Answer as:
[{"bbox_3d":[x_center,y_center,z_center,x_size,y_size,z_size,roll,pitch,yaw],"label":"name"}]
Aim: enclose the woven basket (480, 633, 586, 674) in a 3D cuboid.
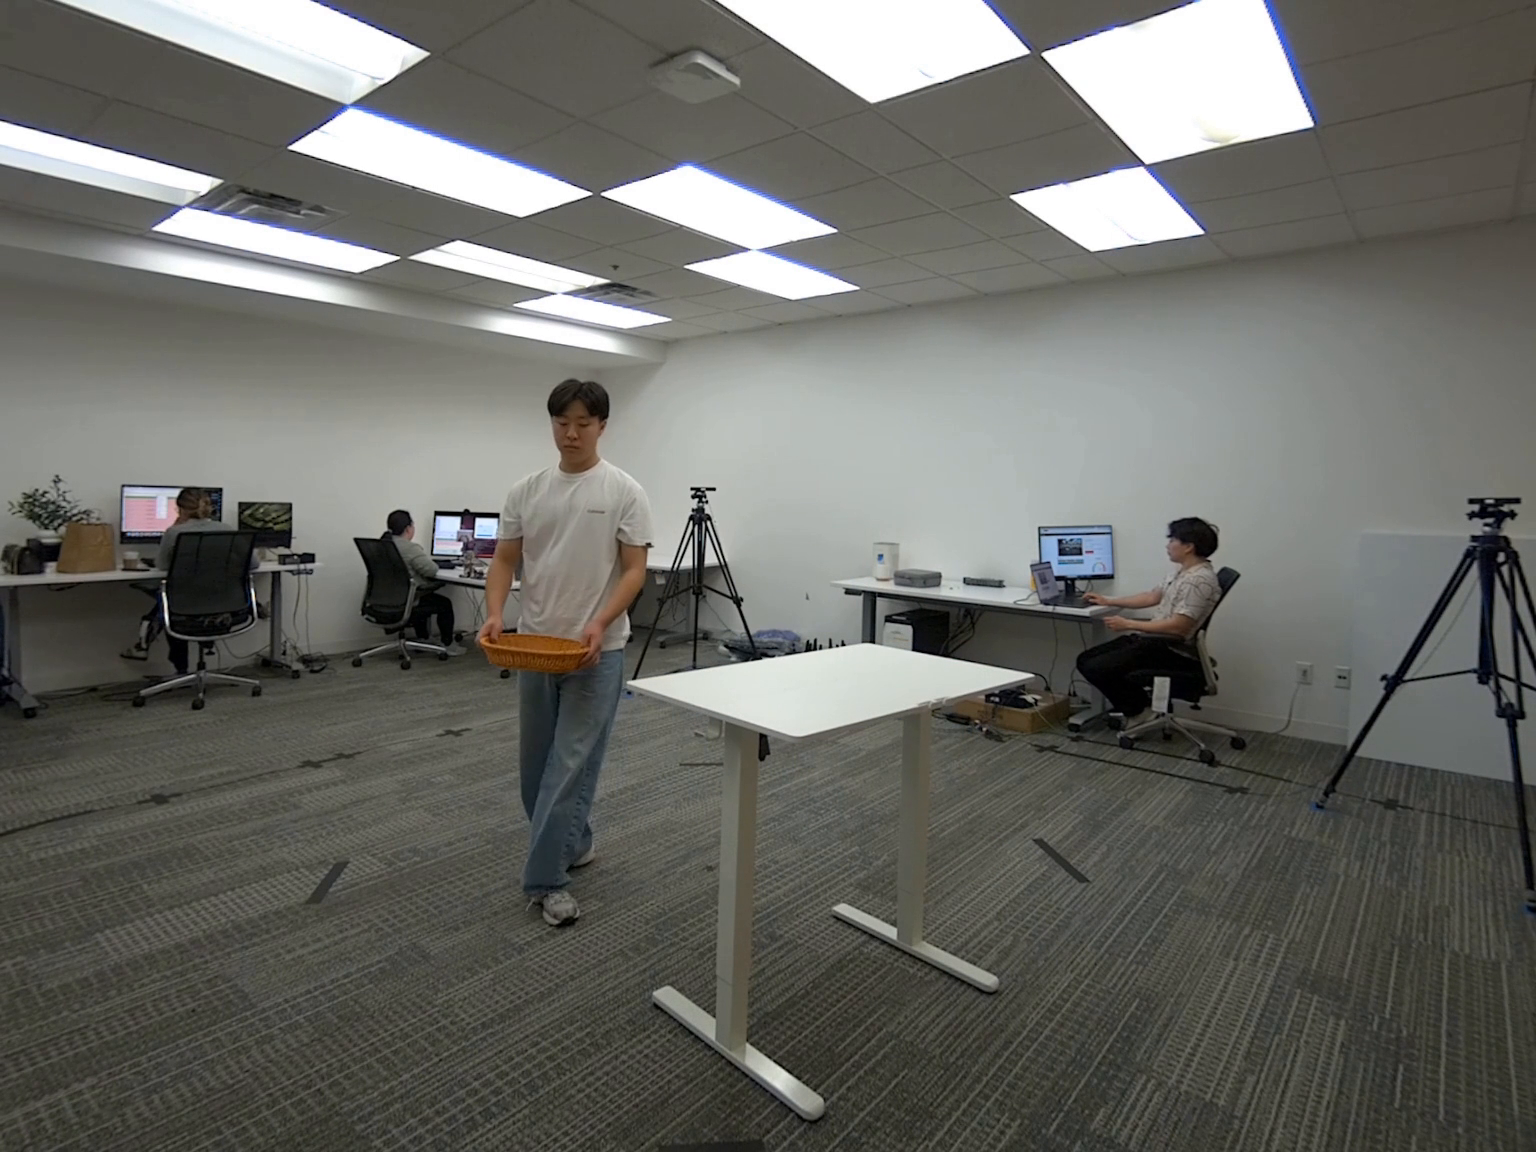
[{"bbox_3d":[-0.745,0.232,2.660,0.361,0.073,0.246,8,9,27],"label":"woven basket"}]
